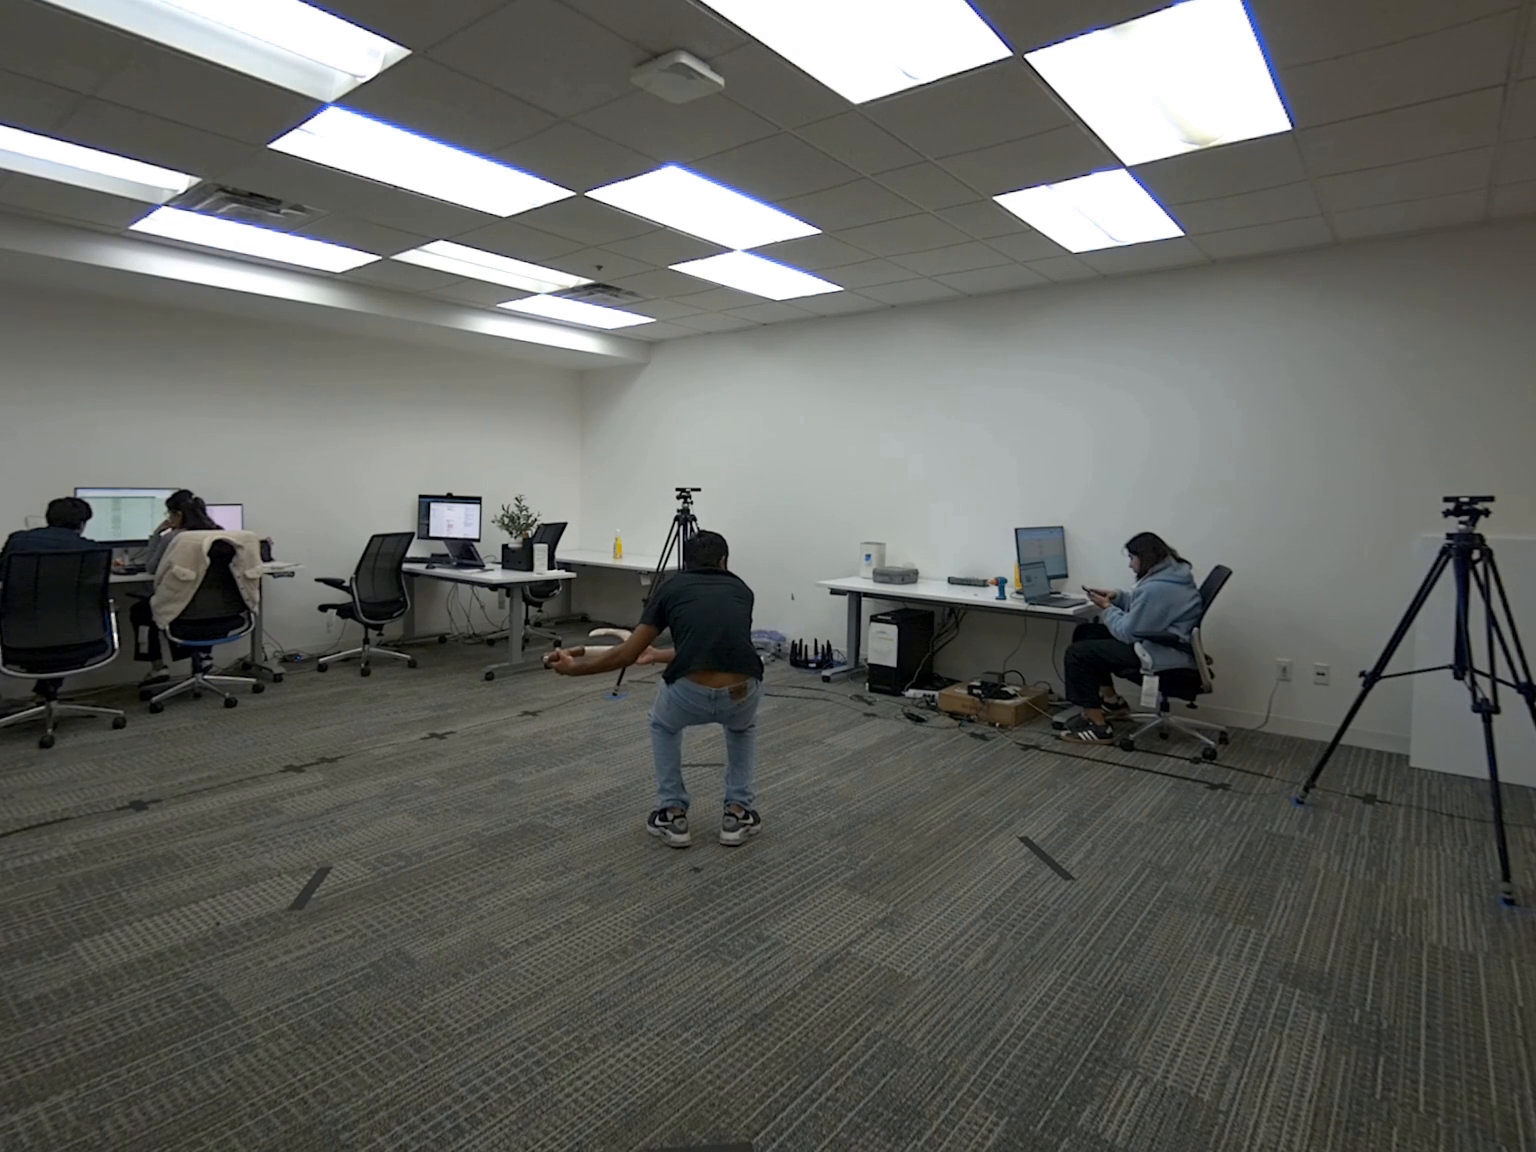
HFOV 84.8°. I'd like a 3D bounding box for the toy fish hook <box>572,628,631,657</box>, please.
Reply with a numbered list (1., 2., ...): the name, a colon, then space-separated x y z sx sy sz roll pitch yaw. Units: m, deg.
1. toy fish hook: -0.788 0.310 3.758 0.491 0.048 0.234 -4 19 -41
